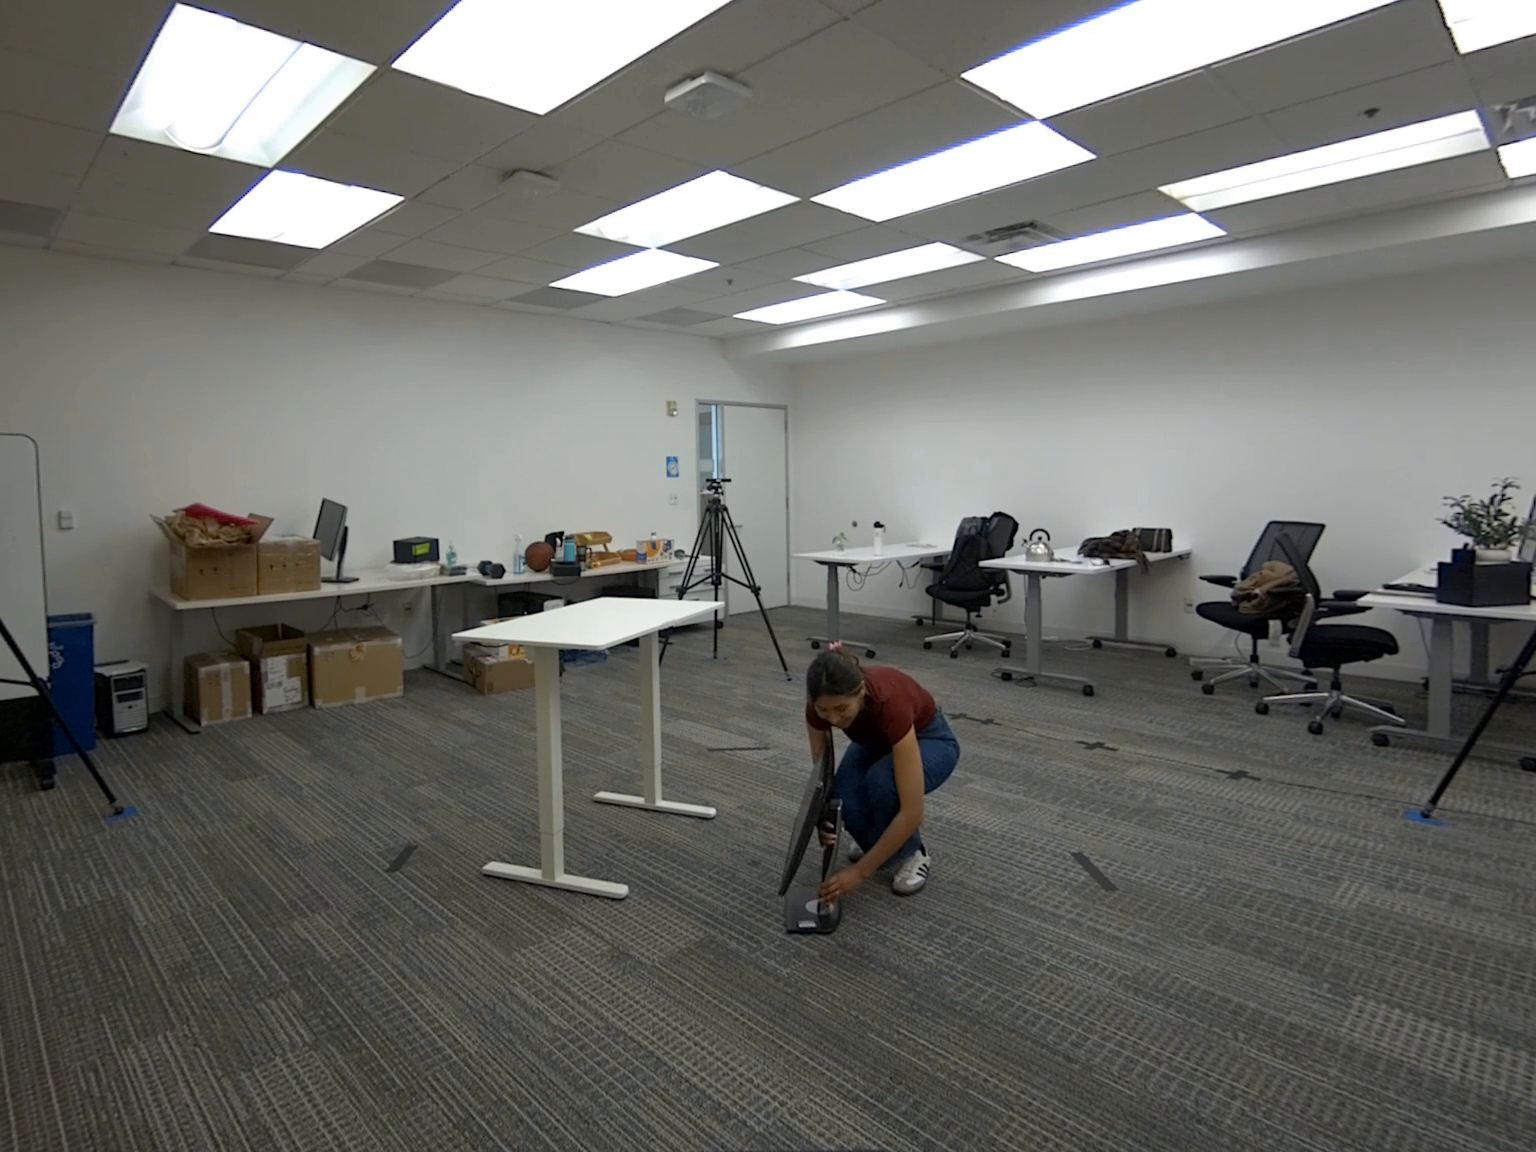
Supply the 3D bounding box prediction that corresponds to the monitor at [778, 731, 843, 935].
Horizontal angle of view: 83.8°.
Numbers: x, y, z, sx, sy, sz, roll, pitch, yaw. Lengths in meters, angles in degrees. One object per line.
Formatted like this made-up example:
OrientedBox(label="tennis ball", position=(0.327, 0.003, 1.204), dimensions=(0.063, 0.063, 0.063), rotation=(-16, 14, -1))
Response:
OrientedBox(label="monitor", position=(0.152, 0.835, 2.727), dimensions=(0.188, 0.521, 0.538), rotation=(3, 5, 4))
